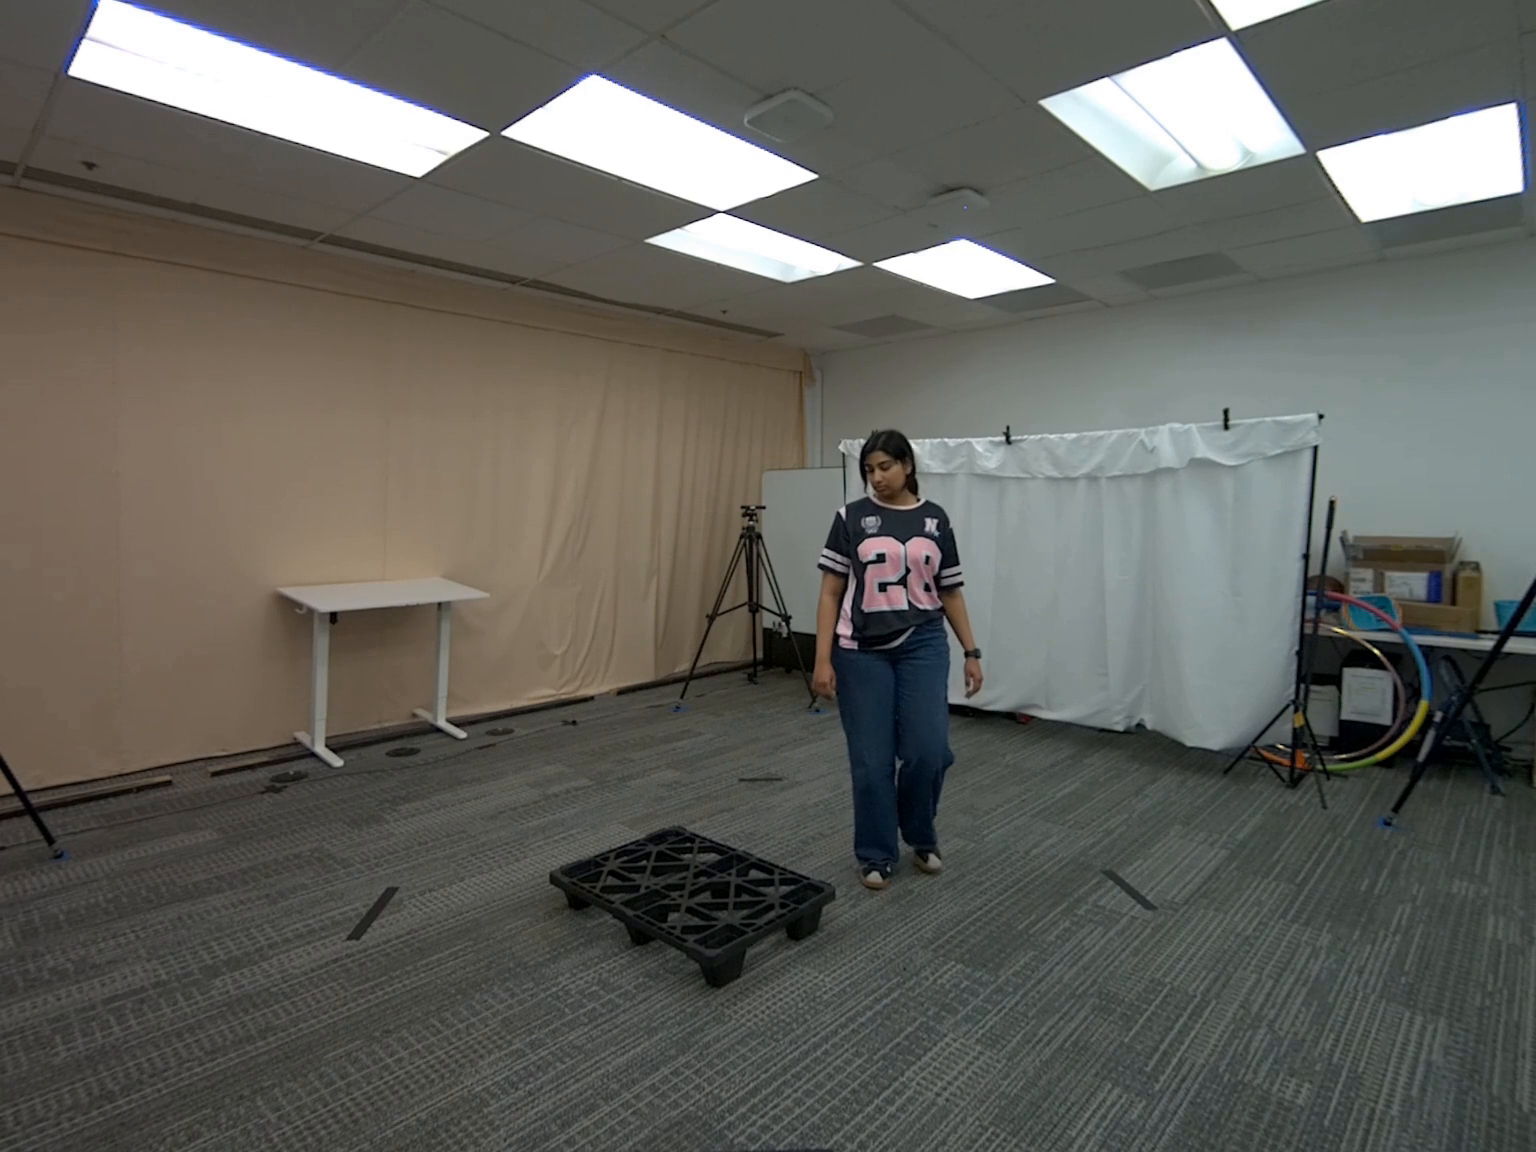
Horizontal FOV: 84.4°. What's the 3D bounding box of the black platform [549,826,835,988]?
[{"bbox_3d":[-0.264,1.091,2.838,0.832,0.143,0.587,4,7,43],"label":"black platform"}]
